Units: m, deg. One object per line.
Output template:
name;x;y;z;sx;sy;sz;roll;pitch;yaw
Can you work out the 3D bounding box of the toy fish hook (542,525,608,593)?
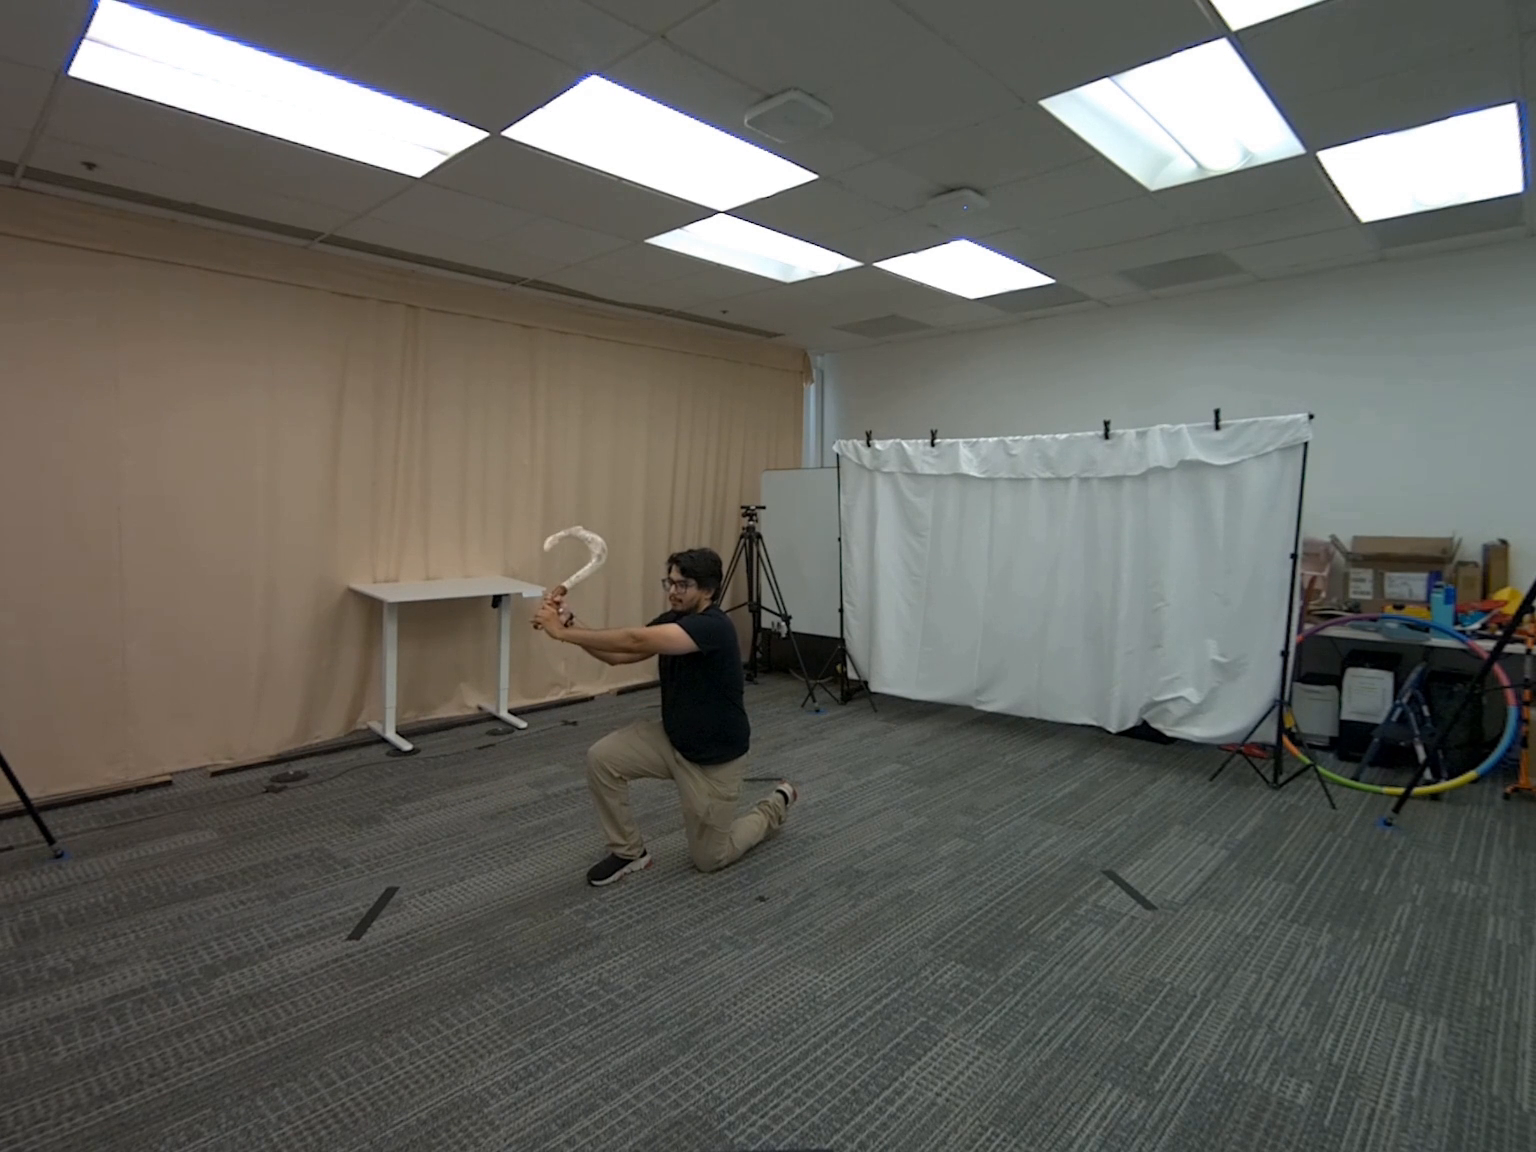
toy fish hook;-0.778;0.000;3.101;0.226;0.048;0.507;23;45;3
